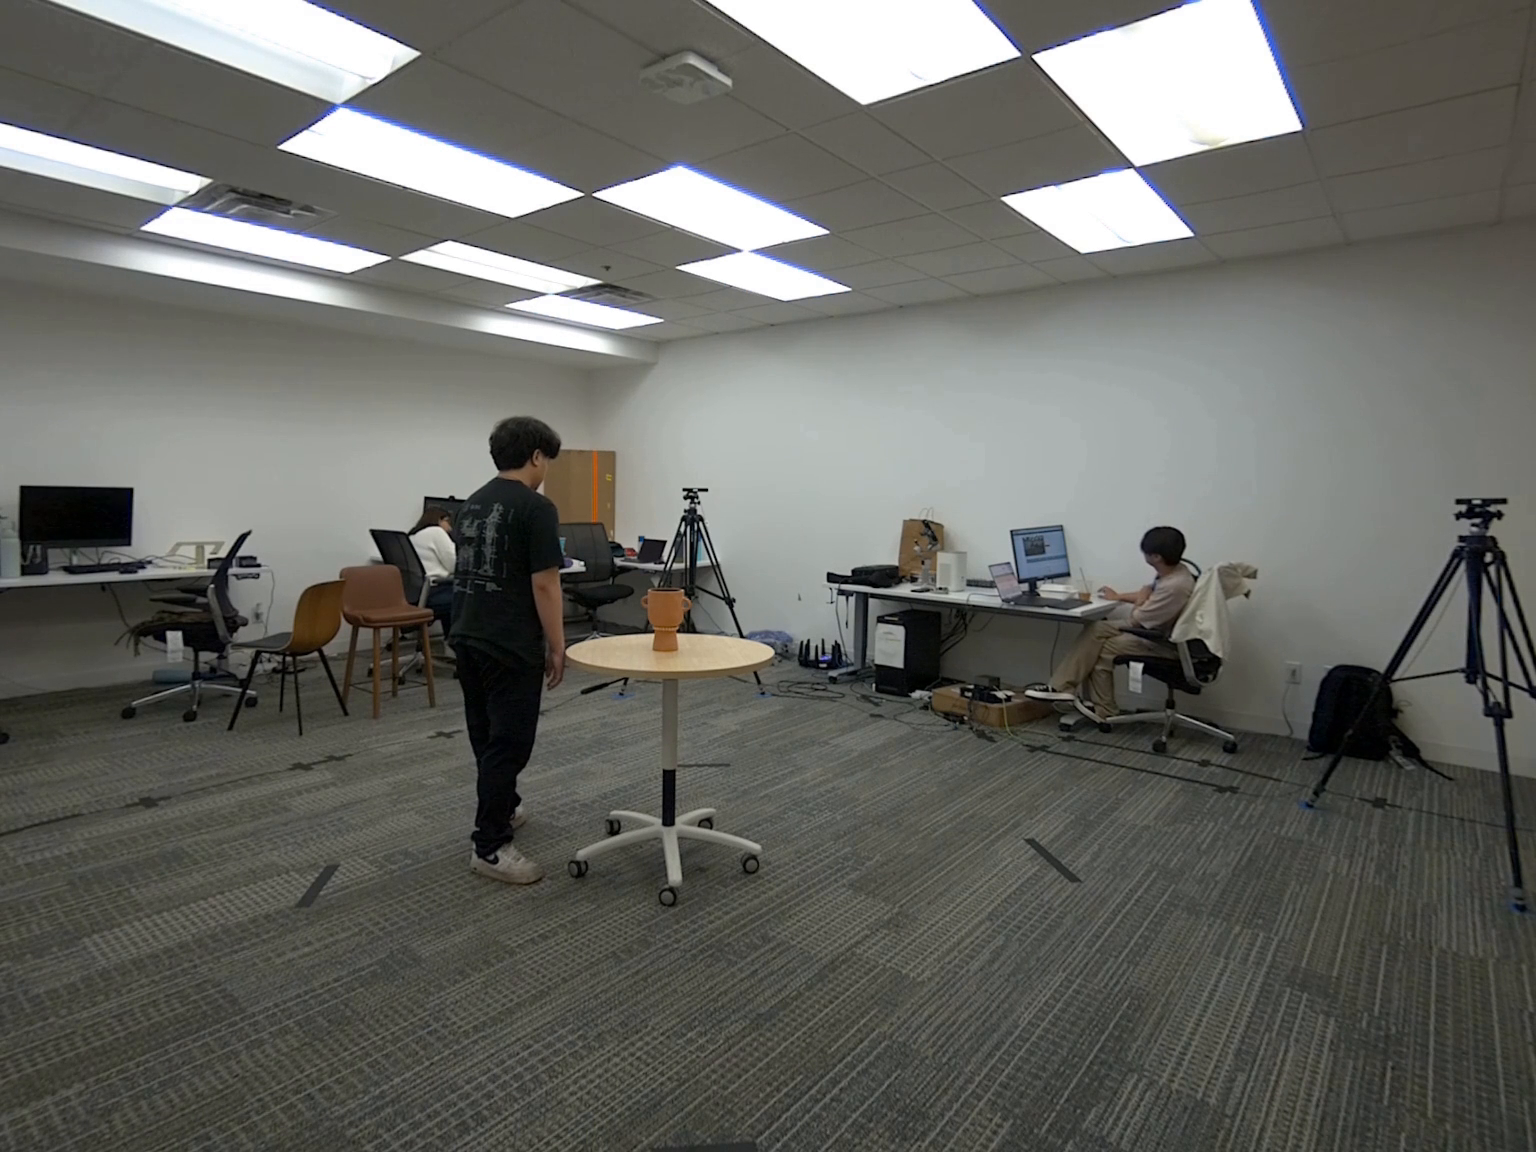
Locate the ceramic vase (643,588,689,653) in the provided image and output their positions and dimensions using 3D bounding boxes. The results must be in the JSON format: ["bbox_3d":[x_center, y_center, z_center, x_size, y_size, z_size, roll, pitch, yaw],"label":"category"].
[{"bbox_3d":[-0.391,0.164,3.144,0.131,0.219,0.164,-2,5,-35],"label":"ceramic vase"}]
